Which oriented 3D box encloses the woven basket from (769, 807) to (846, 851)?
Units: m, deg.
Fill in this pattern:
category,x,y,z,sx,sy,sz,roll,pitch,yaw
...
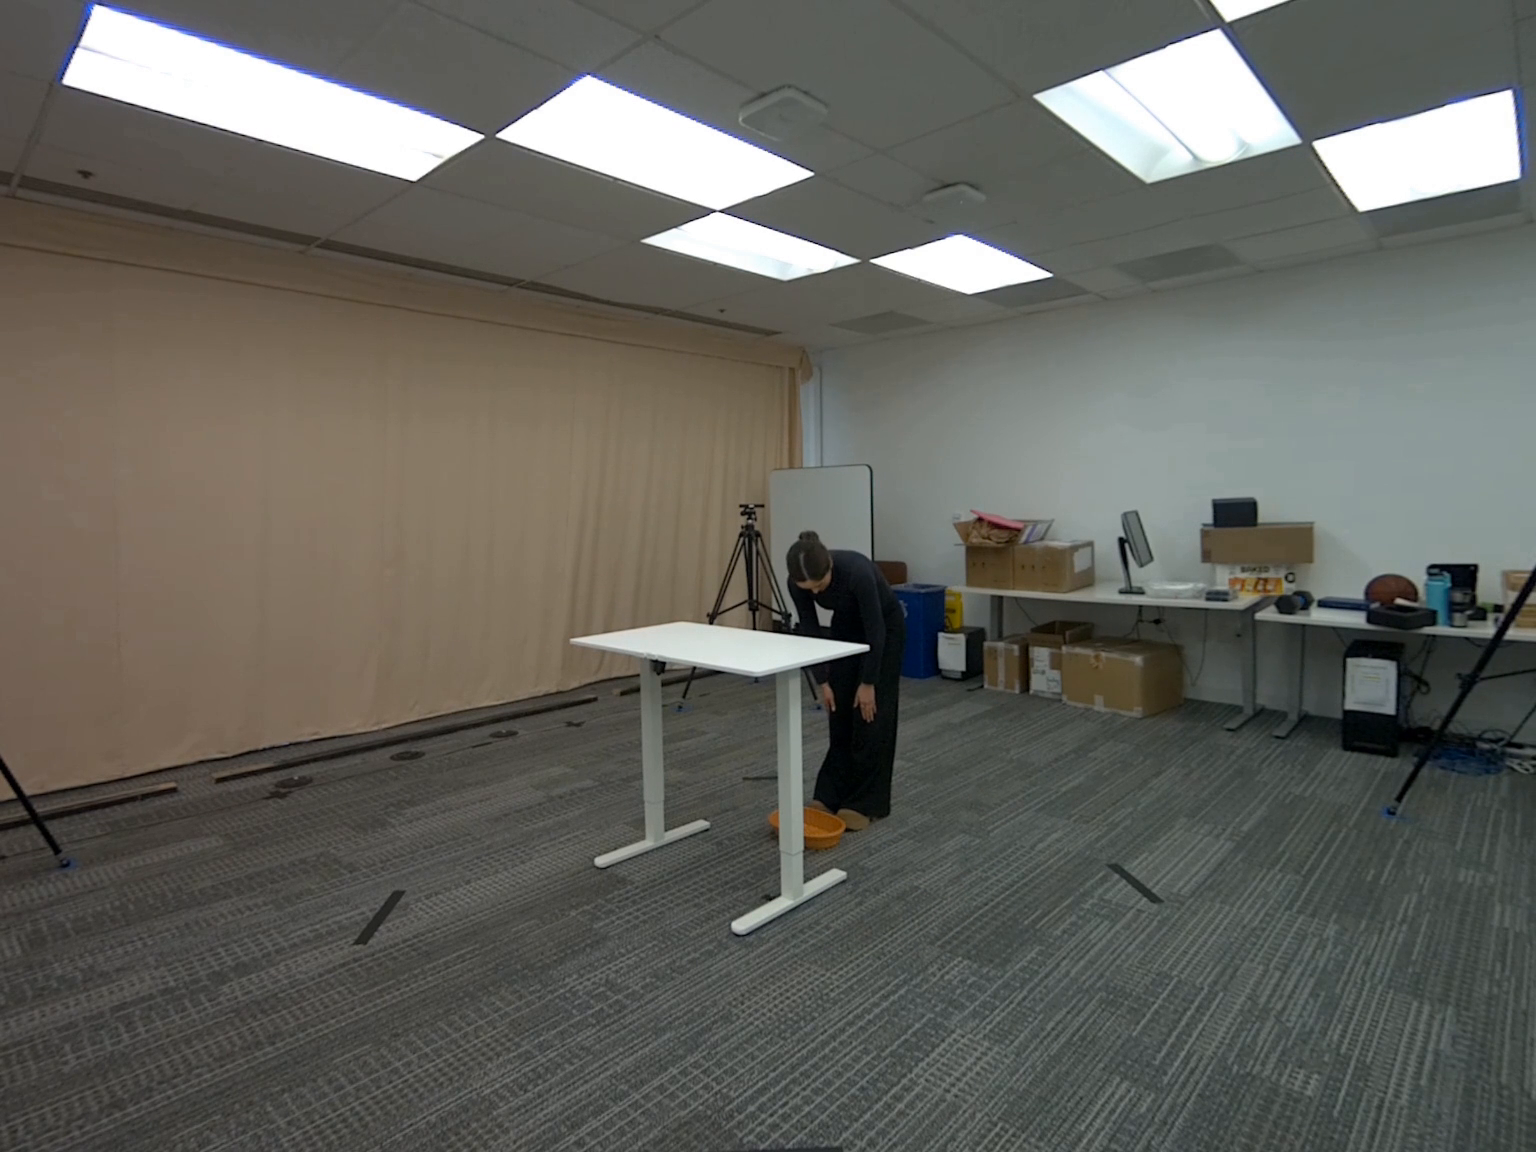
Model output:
category,x,y,z,sx,sy,sz,roll,pitch,yaw
woven basket,0.156,1.046,3.507,0.245,0.073,0.362,-6,7,-41
